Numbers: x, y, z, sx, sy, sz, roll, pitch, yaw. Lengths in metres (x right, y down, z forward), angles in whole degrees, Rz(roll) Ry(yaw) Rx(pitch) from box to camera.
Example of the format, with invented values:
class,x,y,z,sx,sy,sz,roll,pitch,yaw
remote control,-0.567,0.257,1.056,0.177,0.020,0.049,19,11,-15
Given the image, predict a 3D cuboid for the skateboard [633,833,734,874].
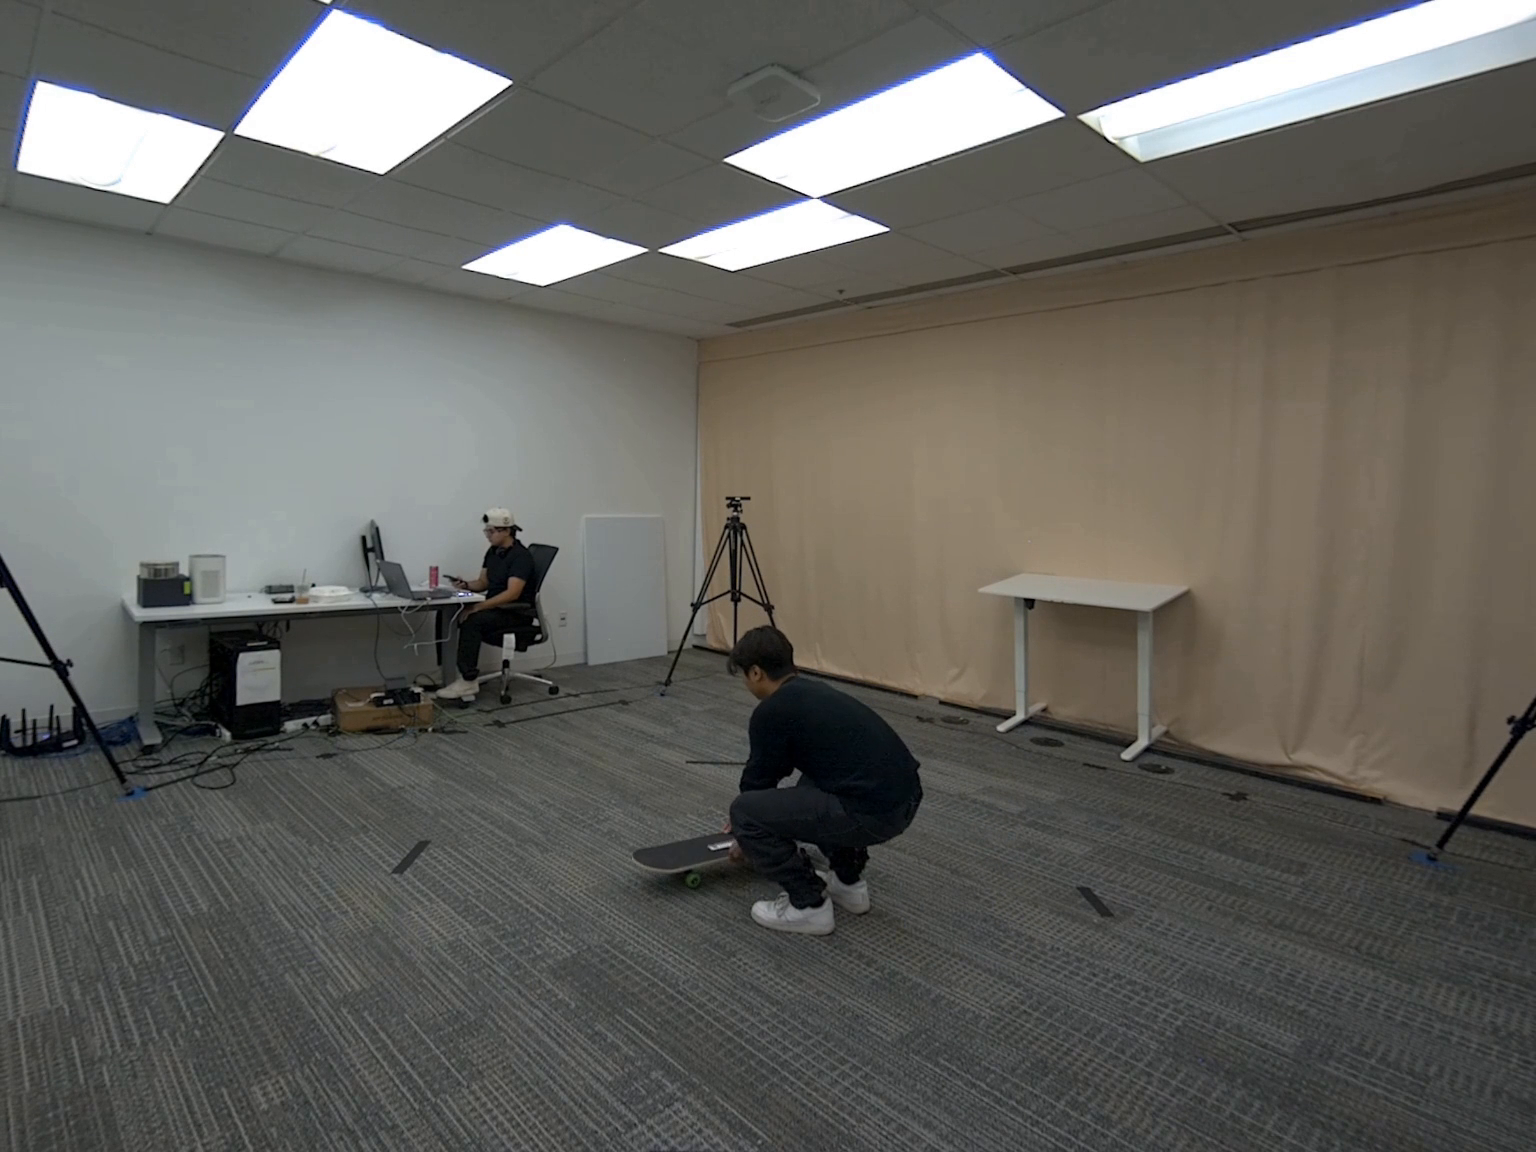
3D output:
class,x,y,z,sx,sy,sz,roll,pitch,yaw
skateboard,-0.134,1.026,3.139,0.772,0.110,0.198,-4,8,-25
